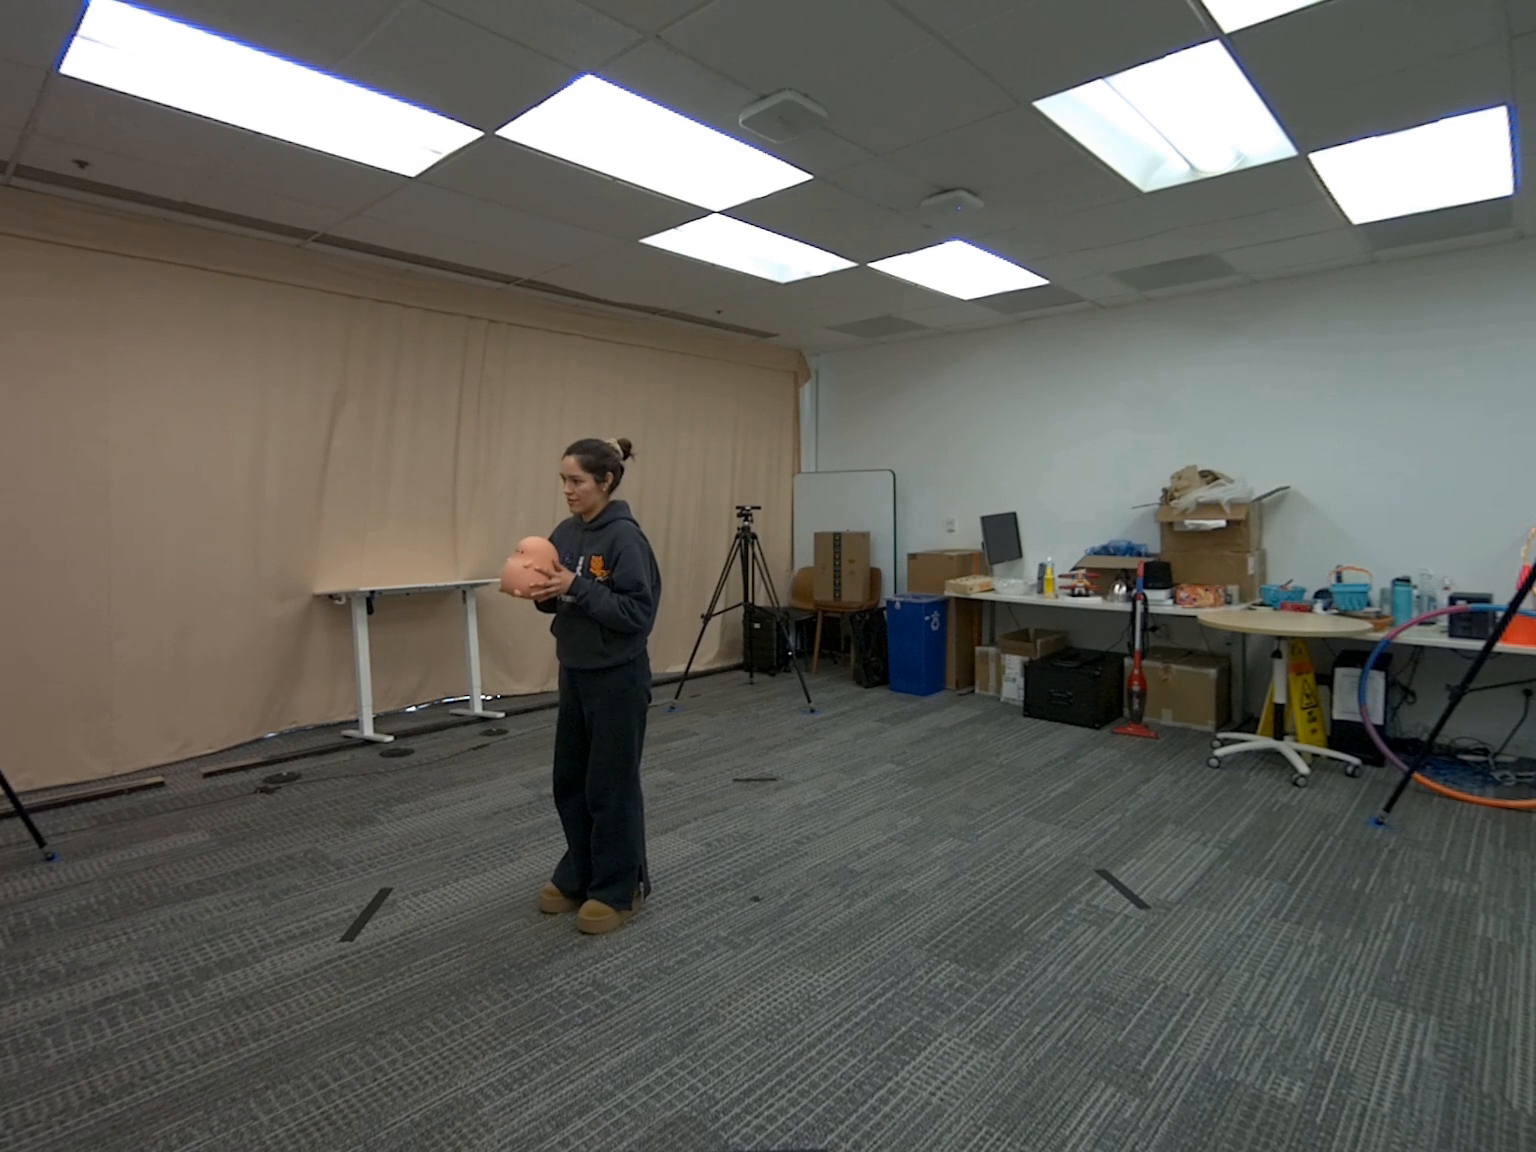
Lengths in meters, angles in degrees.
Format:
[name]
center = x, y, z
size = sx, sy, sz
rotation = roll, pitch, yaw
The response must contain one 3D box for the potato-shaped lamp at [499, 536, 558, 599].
[potato-shaped lamp]
center = -0.743, -0.022, 2.677
size = 0.165, 0.198, 0.170
rotation = 12, -2, -41
